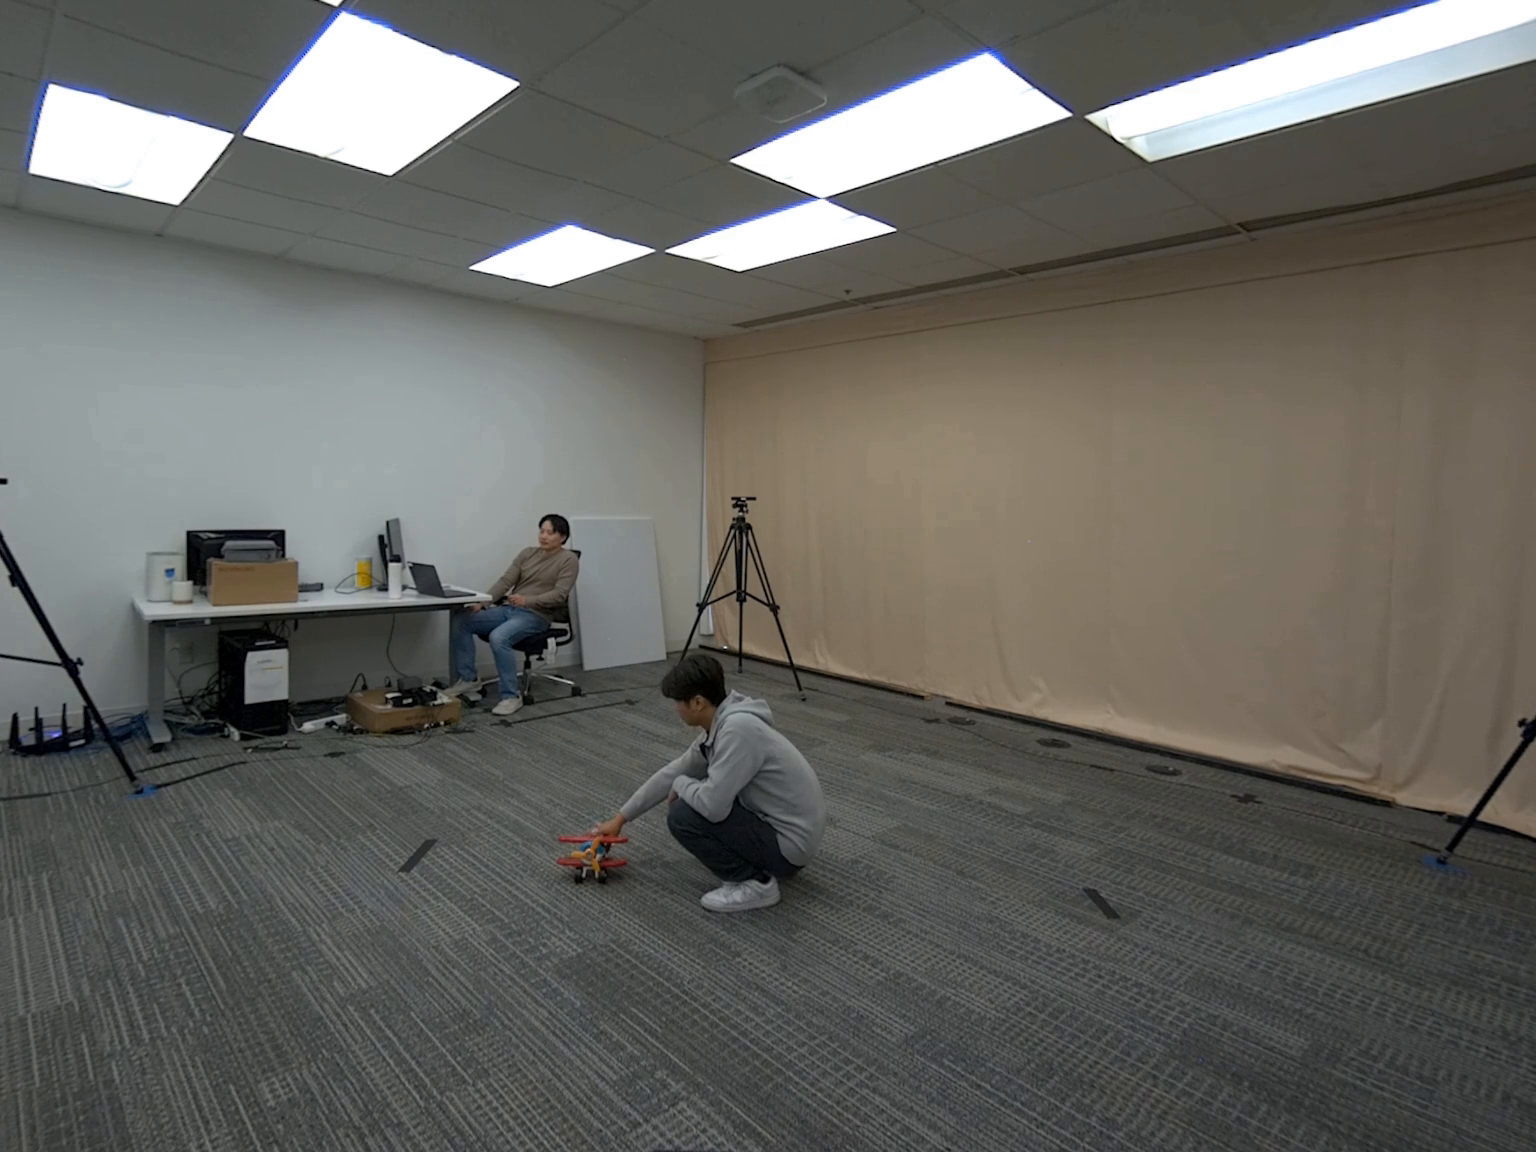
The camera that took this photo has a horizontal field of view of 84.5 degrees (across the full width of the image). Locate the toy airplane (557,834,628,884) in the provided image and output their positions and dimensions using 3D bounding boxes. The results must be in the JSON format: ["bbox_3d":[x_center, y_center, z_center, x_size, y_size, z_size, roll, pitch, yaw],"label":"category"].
[{"bbox_3d":[-0.662,1.019,3.105,0.246,0.156,0.265,-1,4,-30],"label":"toy airplane"}]
